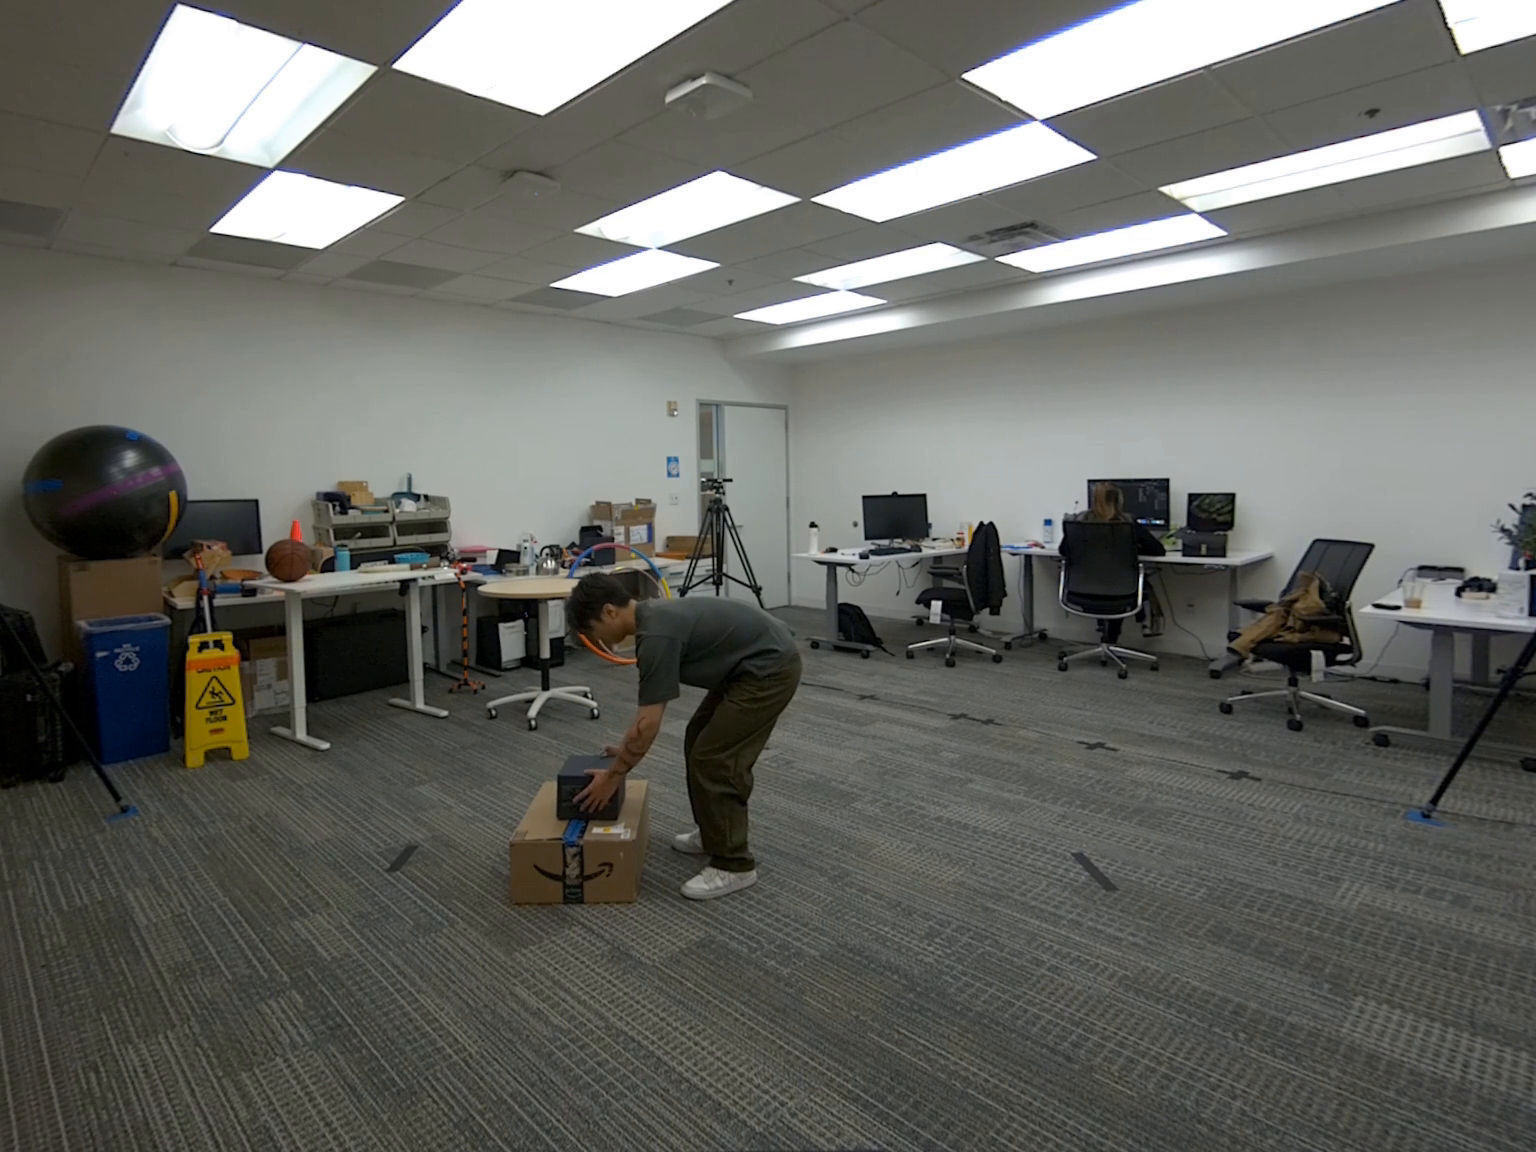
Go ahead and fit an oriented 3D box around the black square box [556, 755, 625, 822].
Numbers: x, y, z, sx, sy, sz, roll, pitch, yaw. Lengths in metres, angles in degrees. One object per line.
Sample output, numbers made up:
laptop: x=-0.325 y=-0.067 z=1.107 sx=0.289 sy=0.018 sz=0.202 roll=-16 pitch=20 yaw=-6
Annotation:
black square box: x=-0.637 y=0.759 z=3.090 sx=0.217 sy=0.155 sz=0.229 roll=0 pitch=6 yaw=-1
